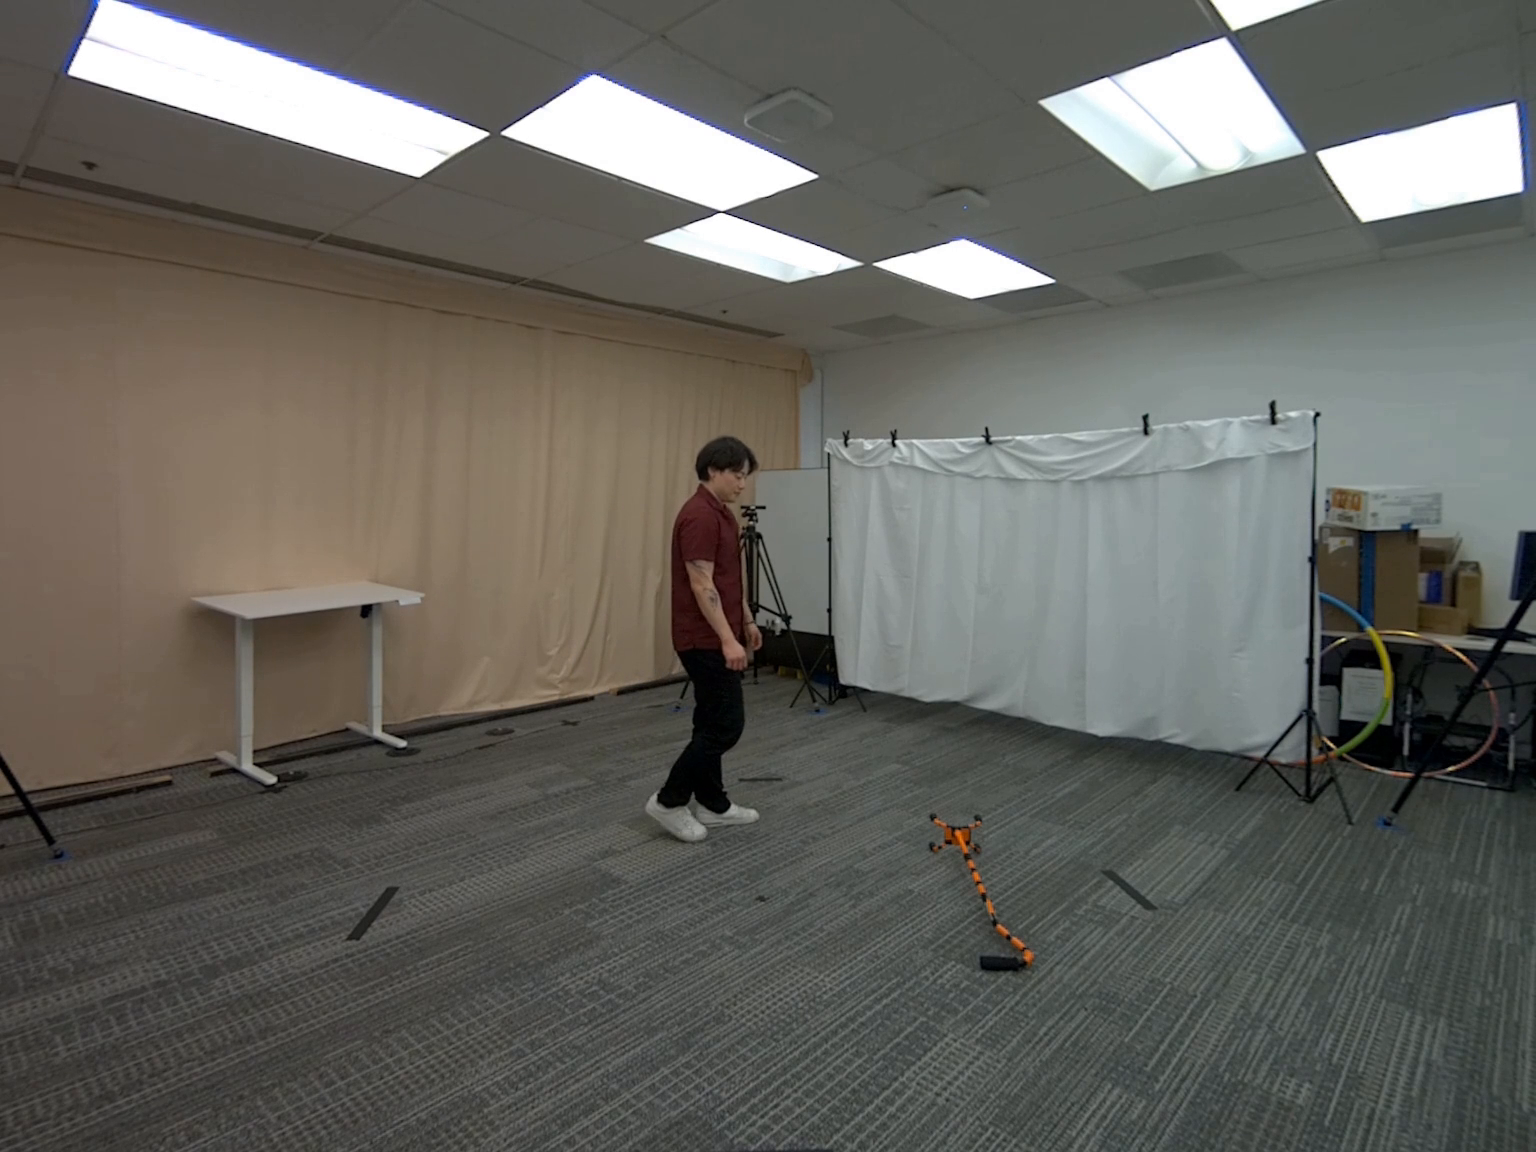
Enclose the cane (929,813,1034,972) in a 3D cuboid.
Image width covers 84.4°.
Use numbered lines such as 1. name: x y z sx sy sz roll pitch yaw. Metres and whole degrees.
1. cane: 0.750 1.098 2.954 0.207 0.151 0.910 0 9 1
